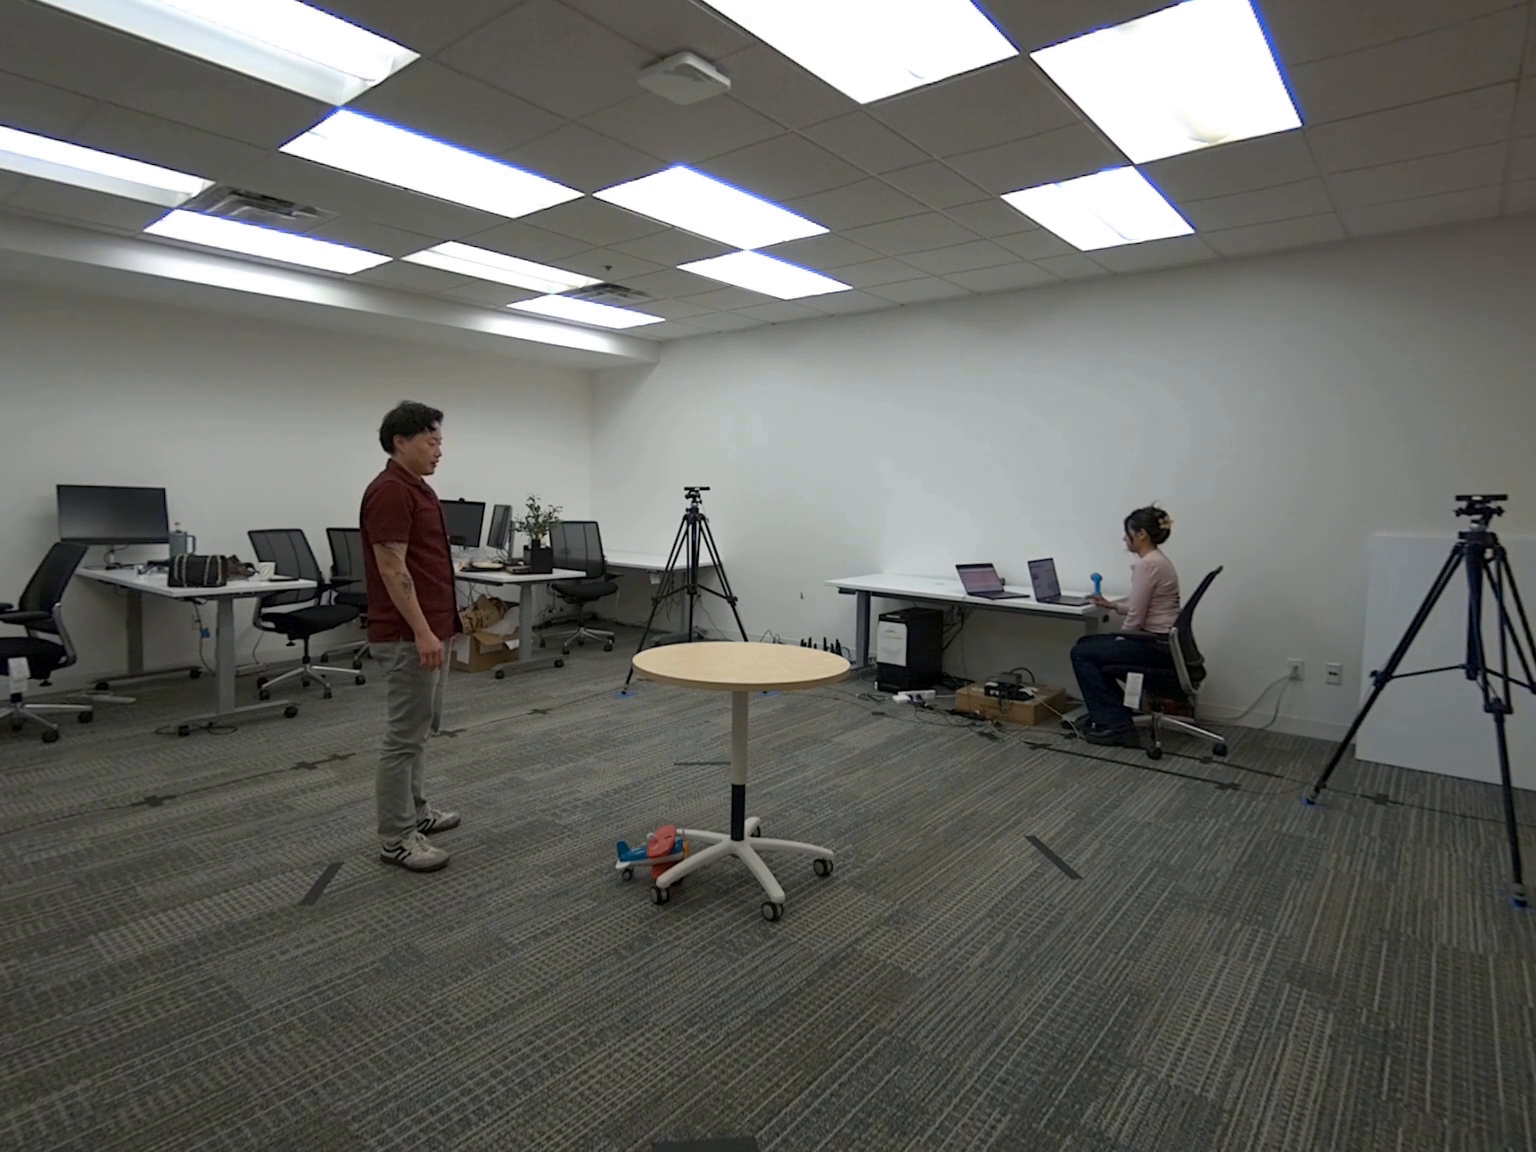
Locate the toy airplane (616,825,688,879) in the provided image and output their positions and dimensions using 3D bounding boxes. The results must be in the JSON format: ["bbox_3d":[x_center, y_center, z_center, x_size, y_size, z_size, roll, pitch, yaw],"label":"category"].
[{"bbox_3d":[-0.414,0.995,3.008,0.253,0.156,0.258,-1,5,-26],"label":"toy airplane"}]
